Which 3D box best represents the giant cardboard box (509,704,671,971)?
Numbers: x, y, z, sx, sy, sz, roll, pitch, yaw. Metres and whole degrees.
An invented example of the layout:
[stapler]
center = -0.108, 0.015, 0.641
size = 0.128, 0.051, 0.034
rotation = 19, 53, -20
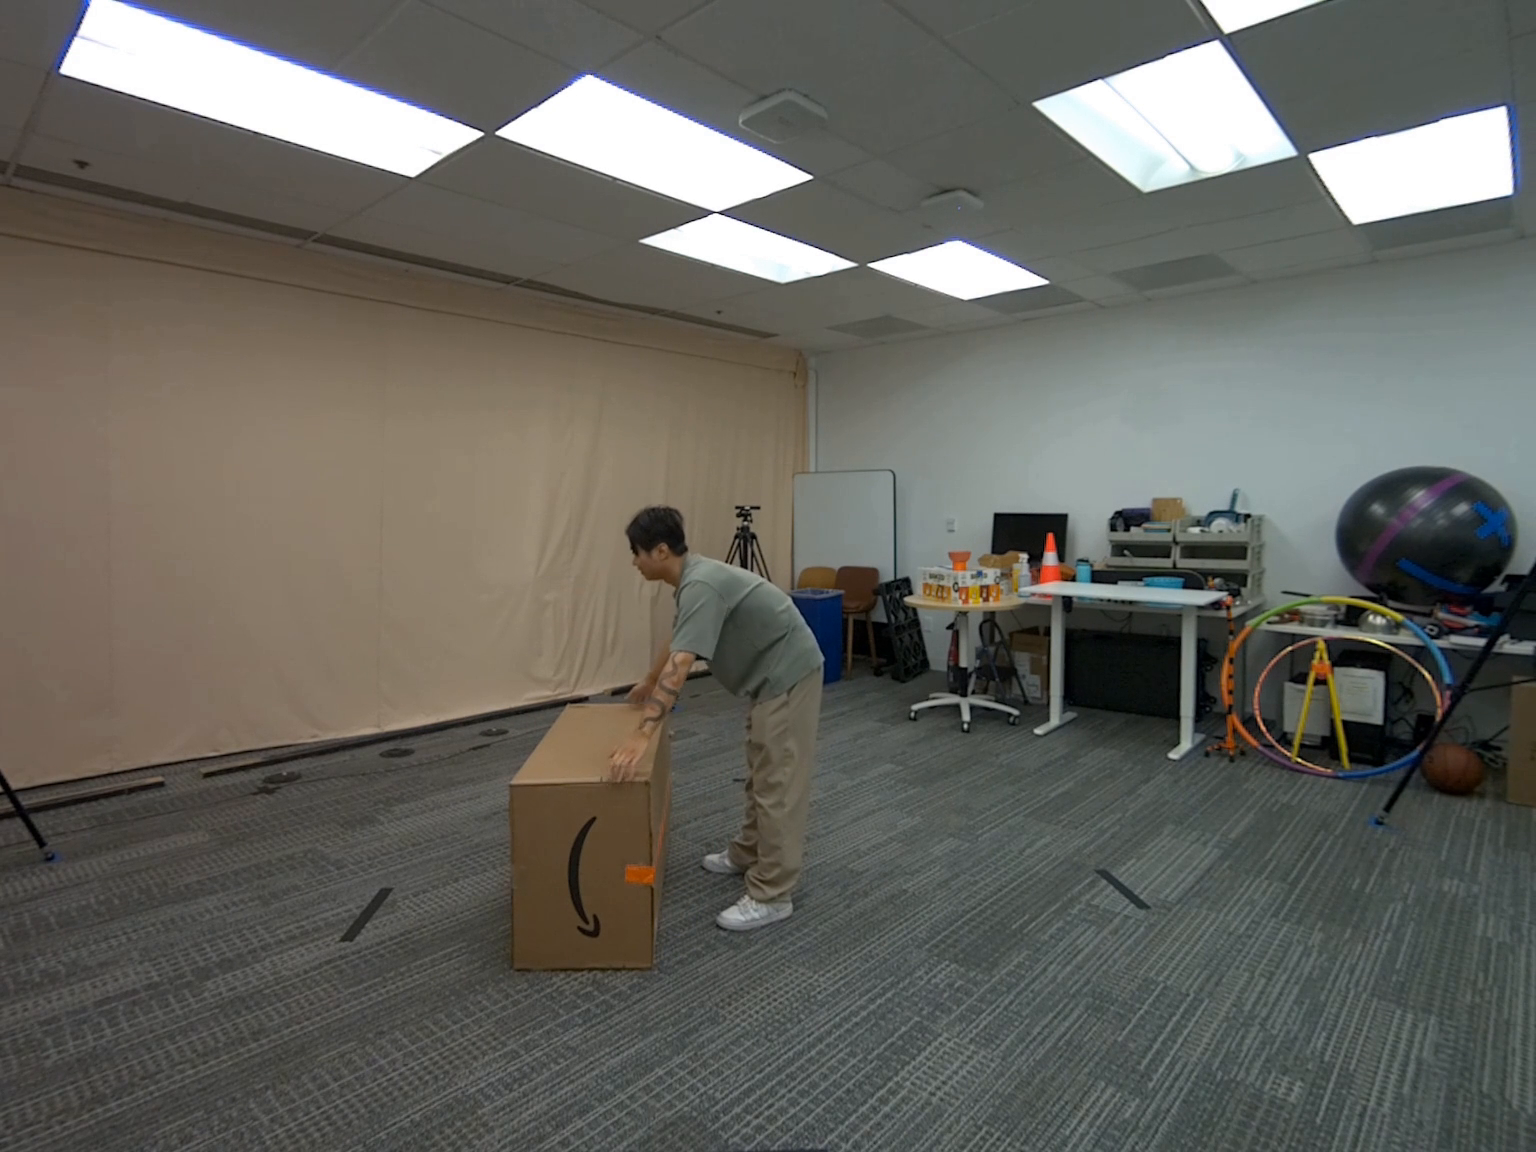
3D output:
[giant cardboard box]
center = -0.593, 0.848, 3.019
size = 0.425, 0.576, 1.031
rotation = 0, 4, -4
